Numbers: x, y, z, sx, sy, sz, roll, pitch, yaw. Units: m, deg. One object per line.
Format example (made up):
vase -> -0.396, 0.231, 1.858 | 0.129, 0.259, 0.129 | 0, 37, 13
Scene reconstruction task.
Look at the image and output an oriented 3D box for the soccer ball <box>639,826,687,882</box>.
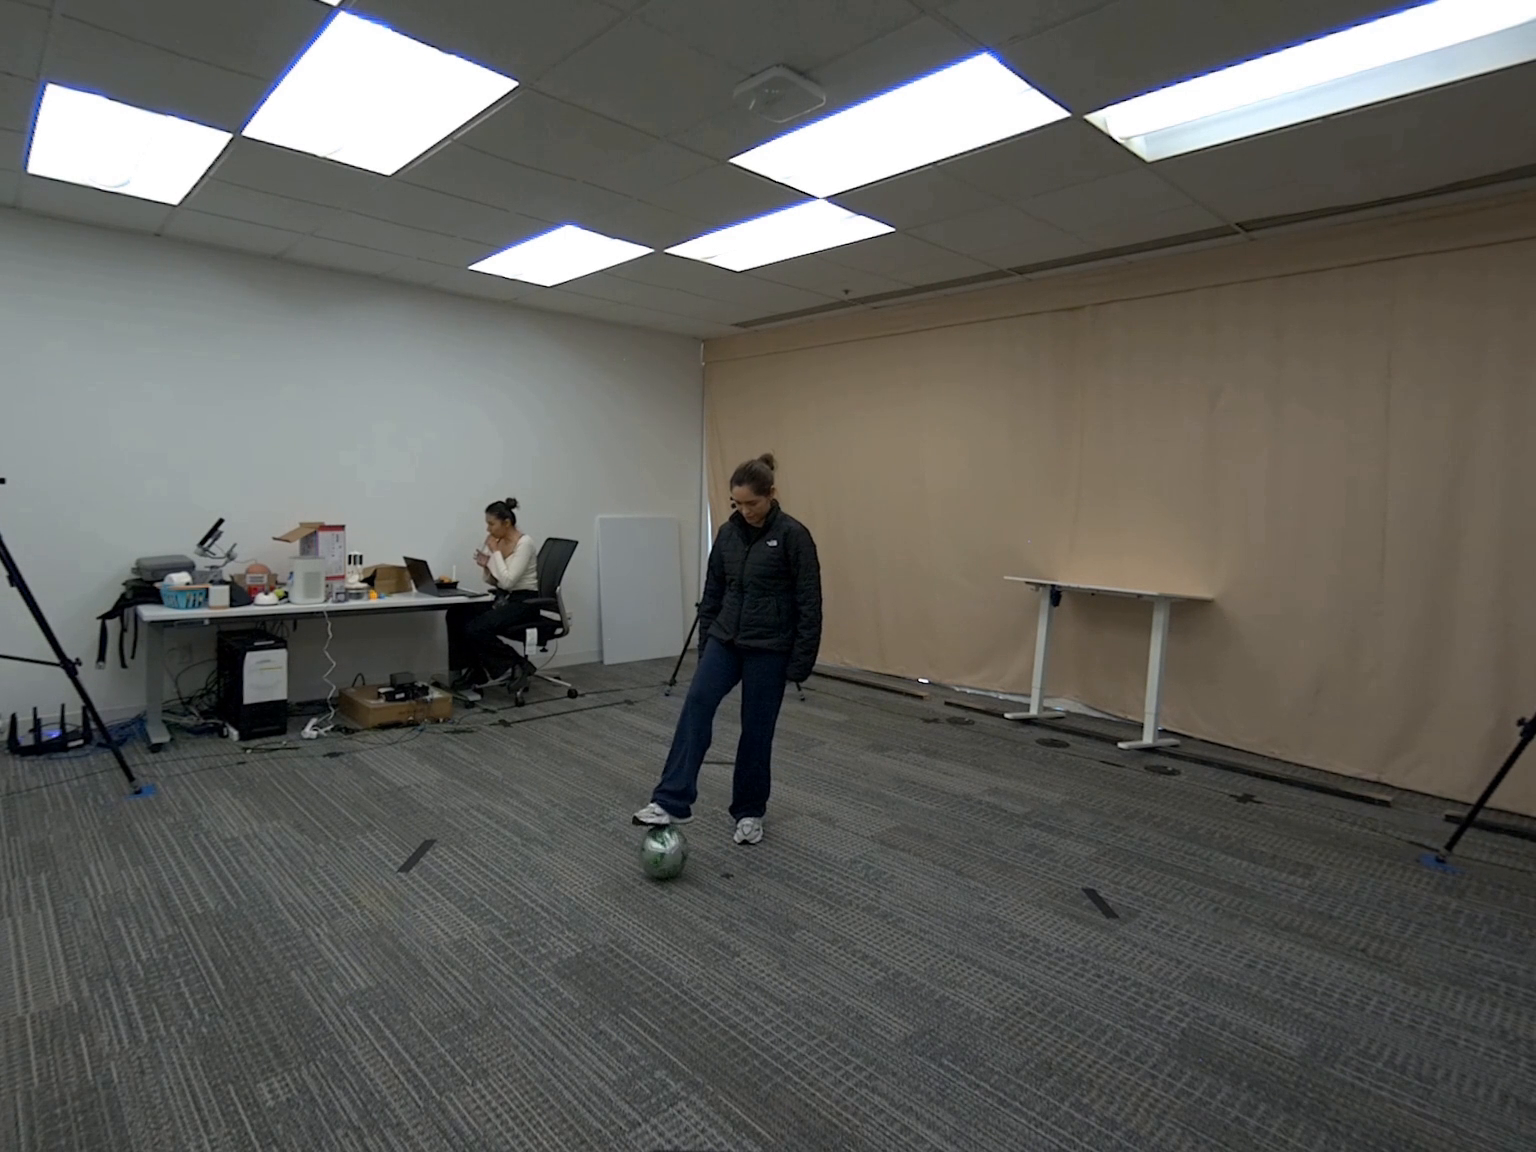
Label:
soccer ball -> -0.388, 1.007, 3.083 | 0.187, 0.187, 0.188 | 1, 4, -1
